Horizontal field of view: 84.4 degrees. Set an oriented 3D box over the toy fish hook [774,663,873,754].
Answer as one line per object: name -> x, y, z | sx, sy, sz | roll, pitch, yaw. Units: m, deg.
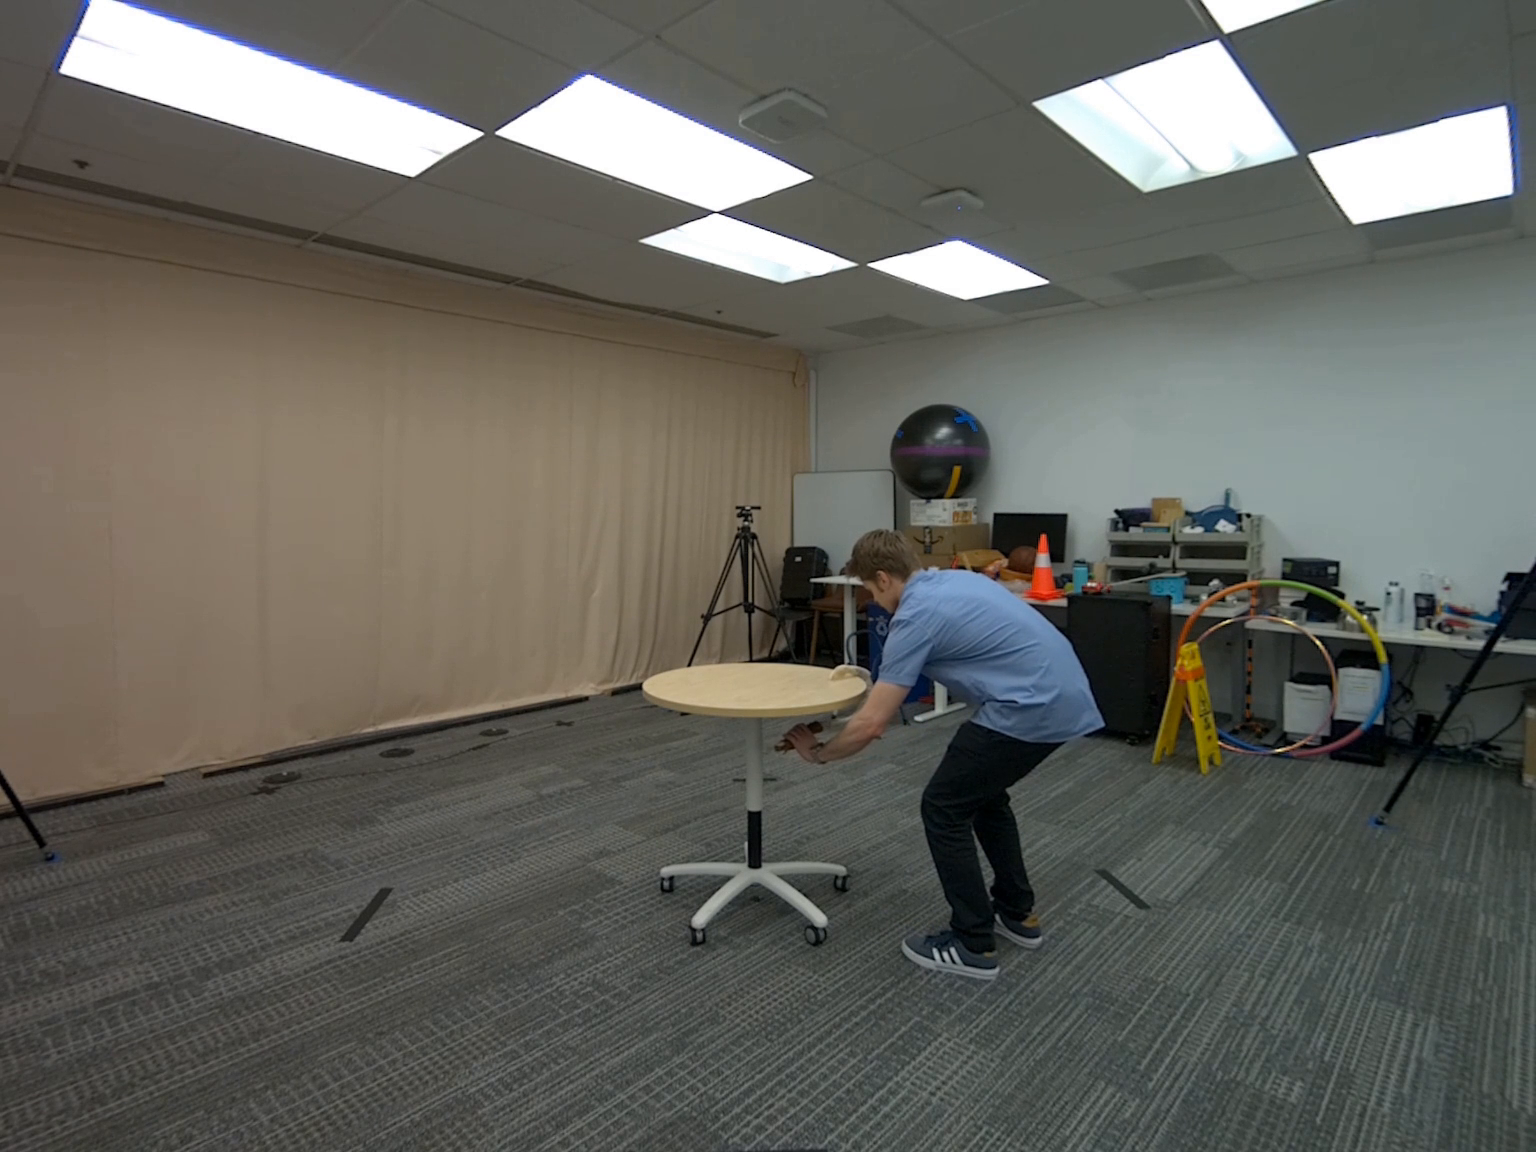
toy fish hook -> 0.206, 0.456, 2.892 | 0.494, 0.225, 0.049 | -16, -2, -37
